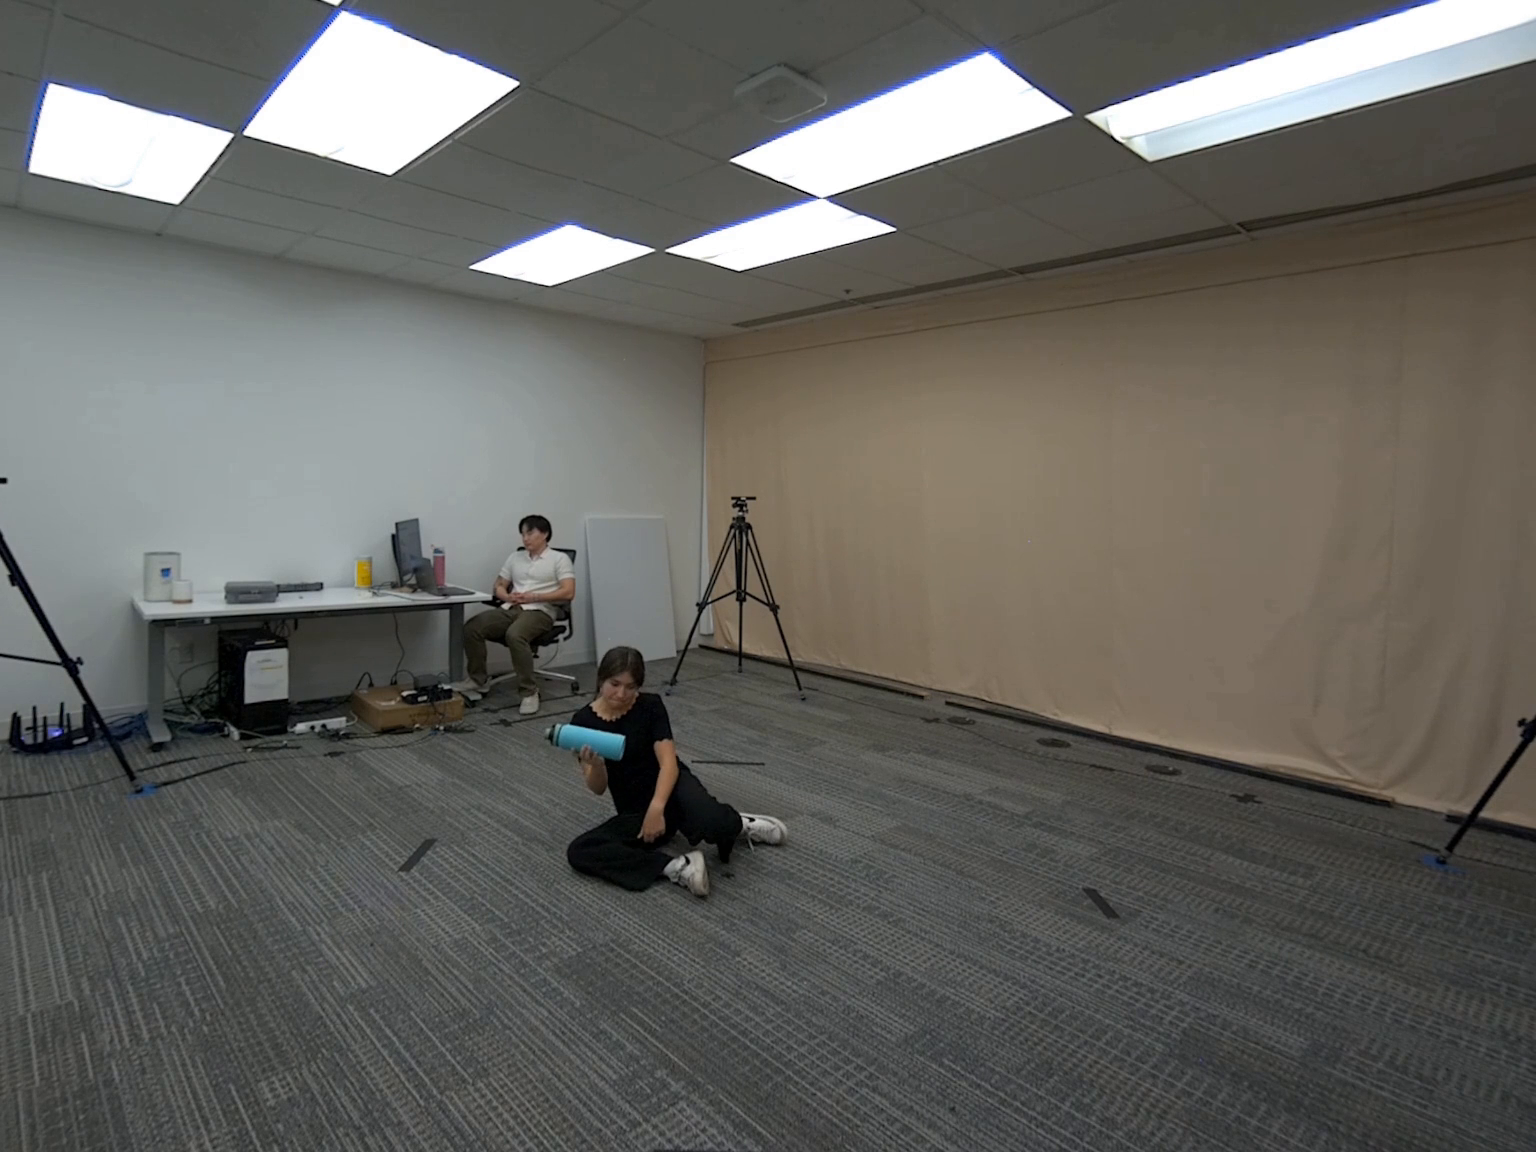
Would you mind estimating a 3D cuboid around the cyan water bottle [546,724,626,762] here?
[{"bbox_3d":[-0.676,0.602,3.036,0.284,0.092,0.092,10,4,2],"label":"cyan water bottle"}]
